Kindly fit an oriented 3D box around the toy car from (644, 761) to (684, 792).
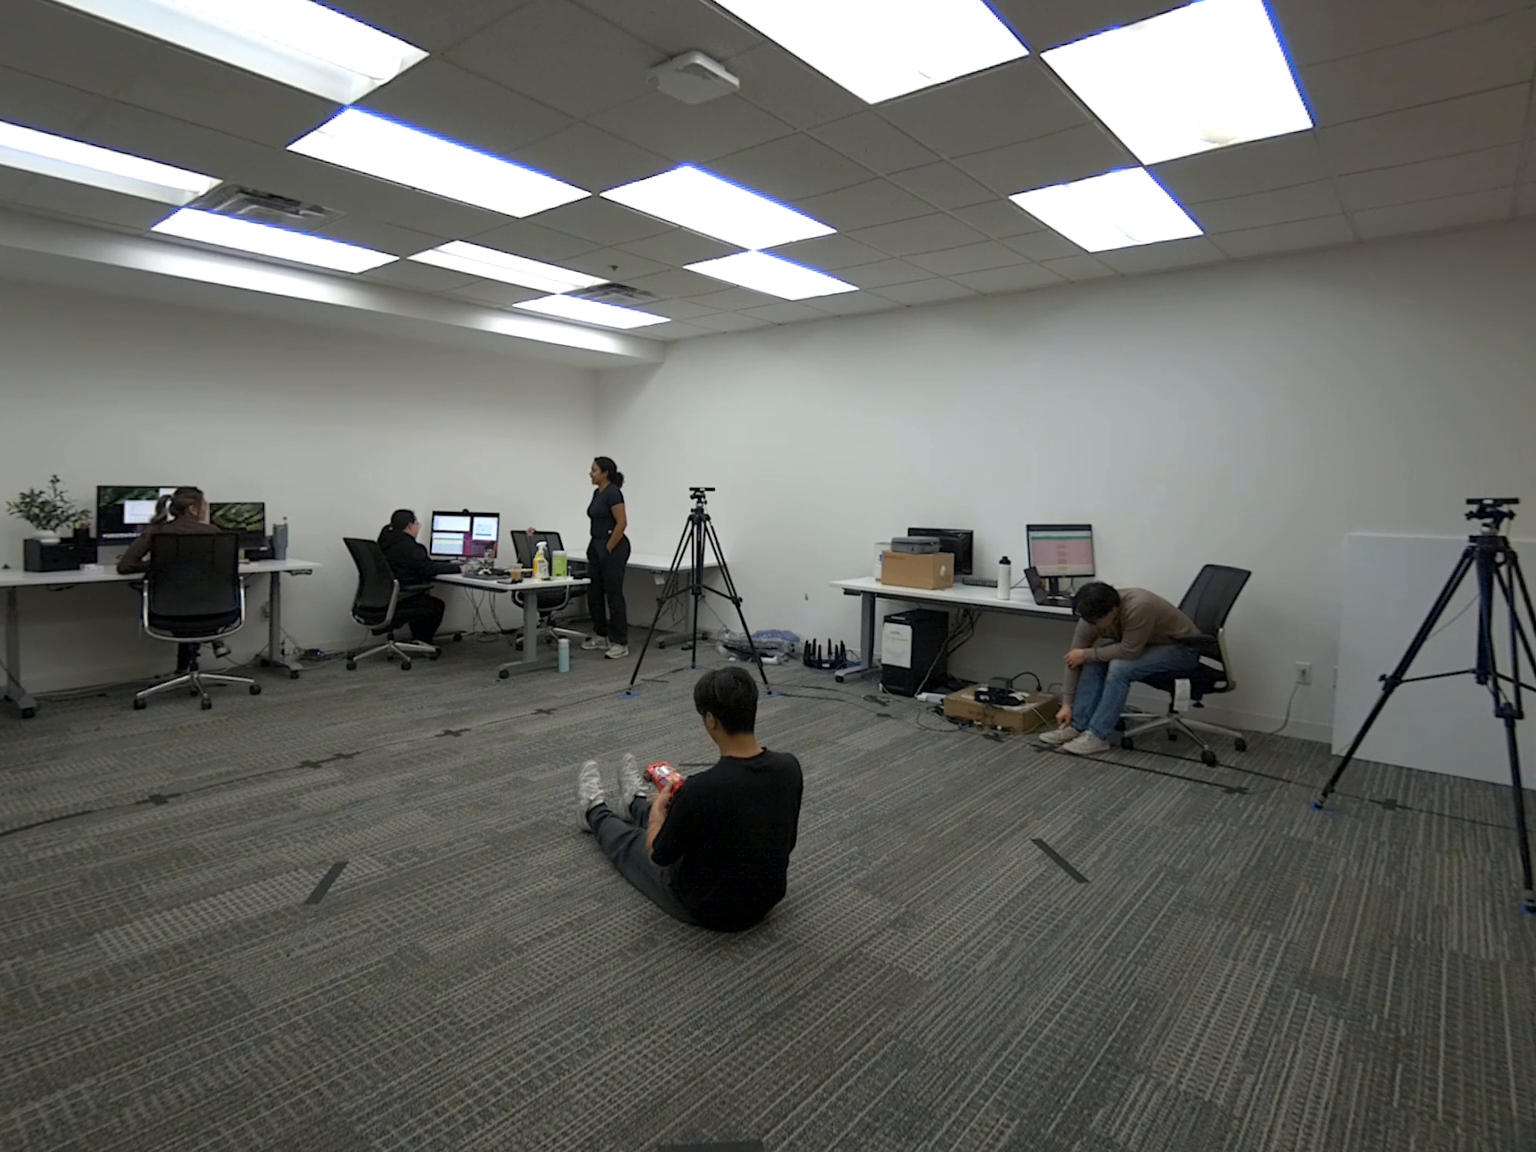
[{"bbox_3d":[-0.328,0.760,2.997,0.126,0.082,0.265,-4,23,-43],"label":"toy car"}]
